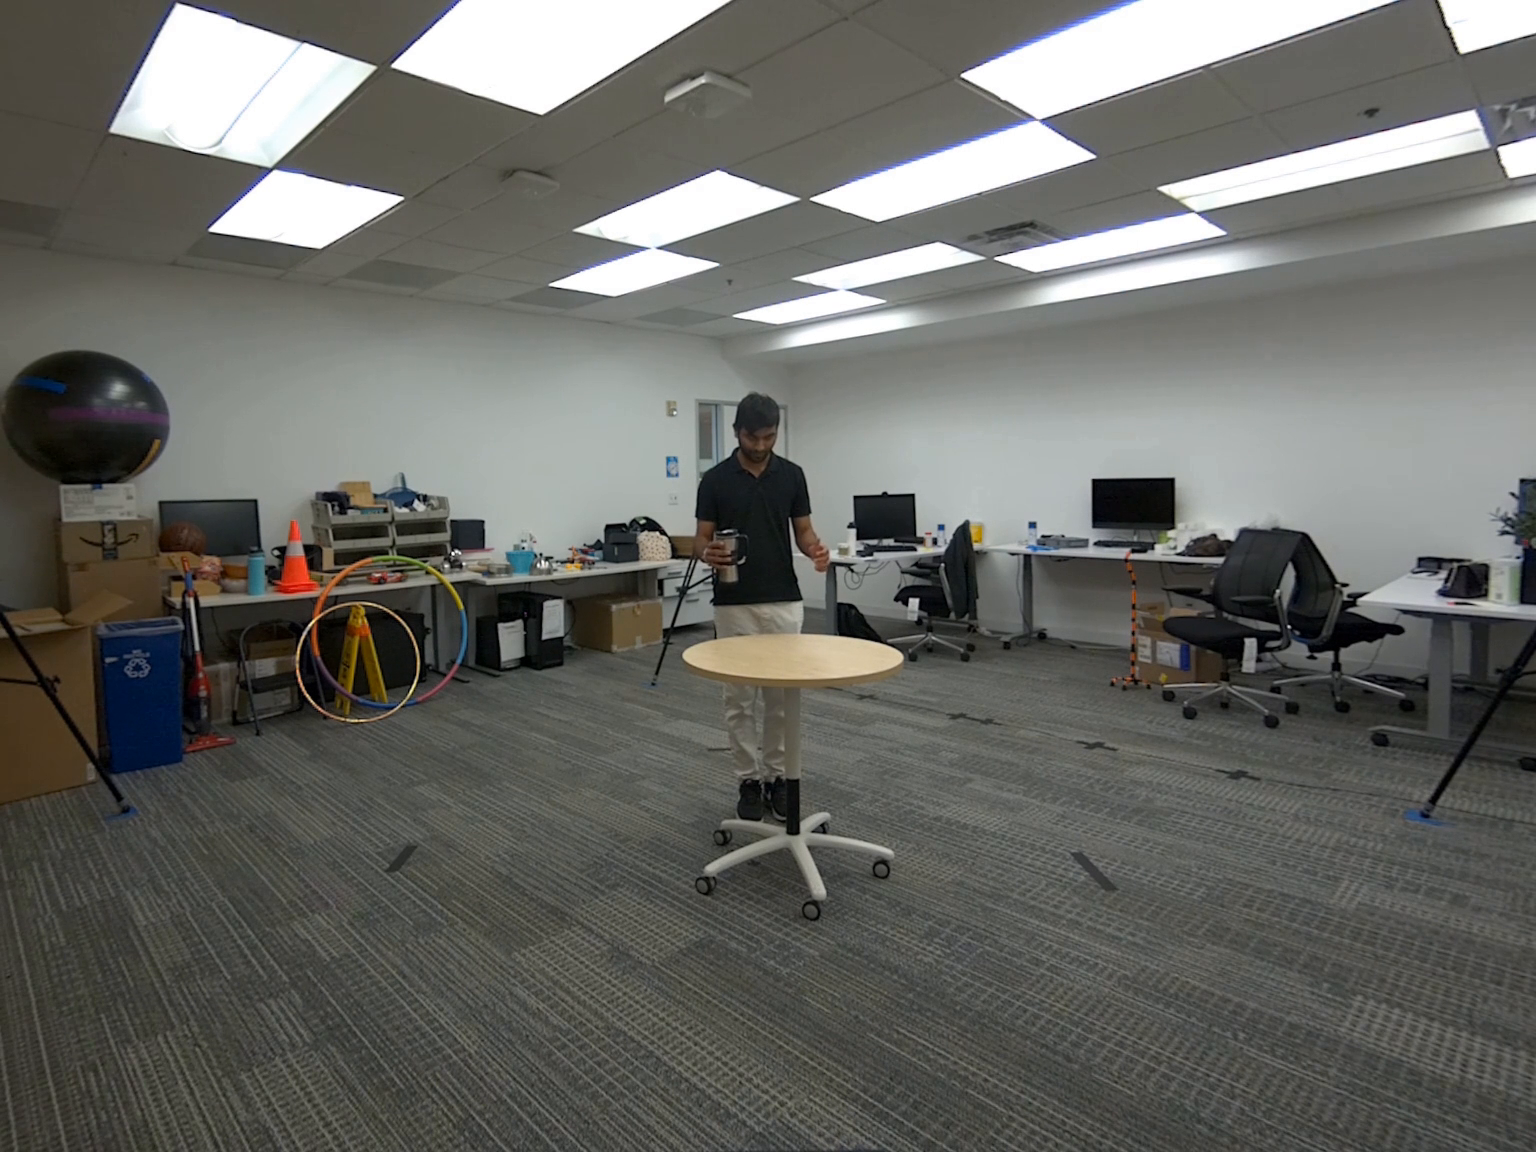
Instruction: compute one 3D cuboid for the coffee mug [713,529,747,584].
[{"bbox_3d":[-0.137,-0.067,3.222,0.125,0.201,0.086,2,13,32],"label":"coffee mug"}]
